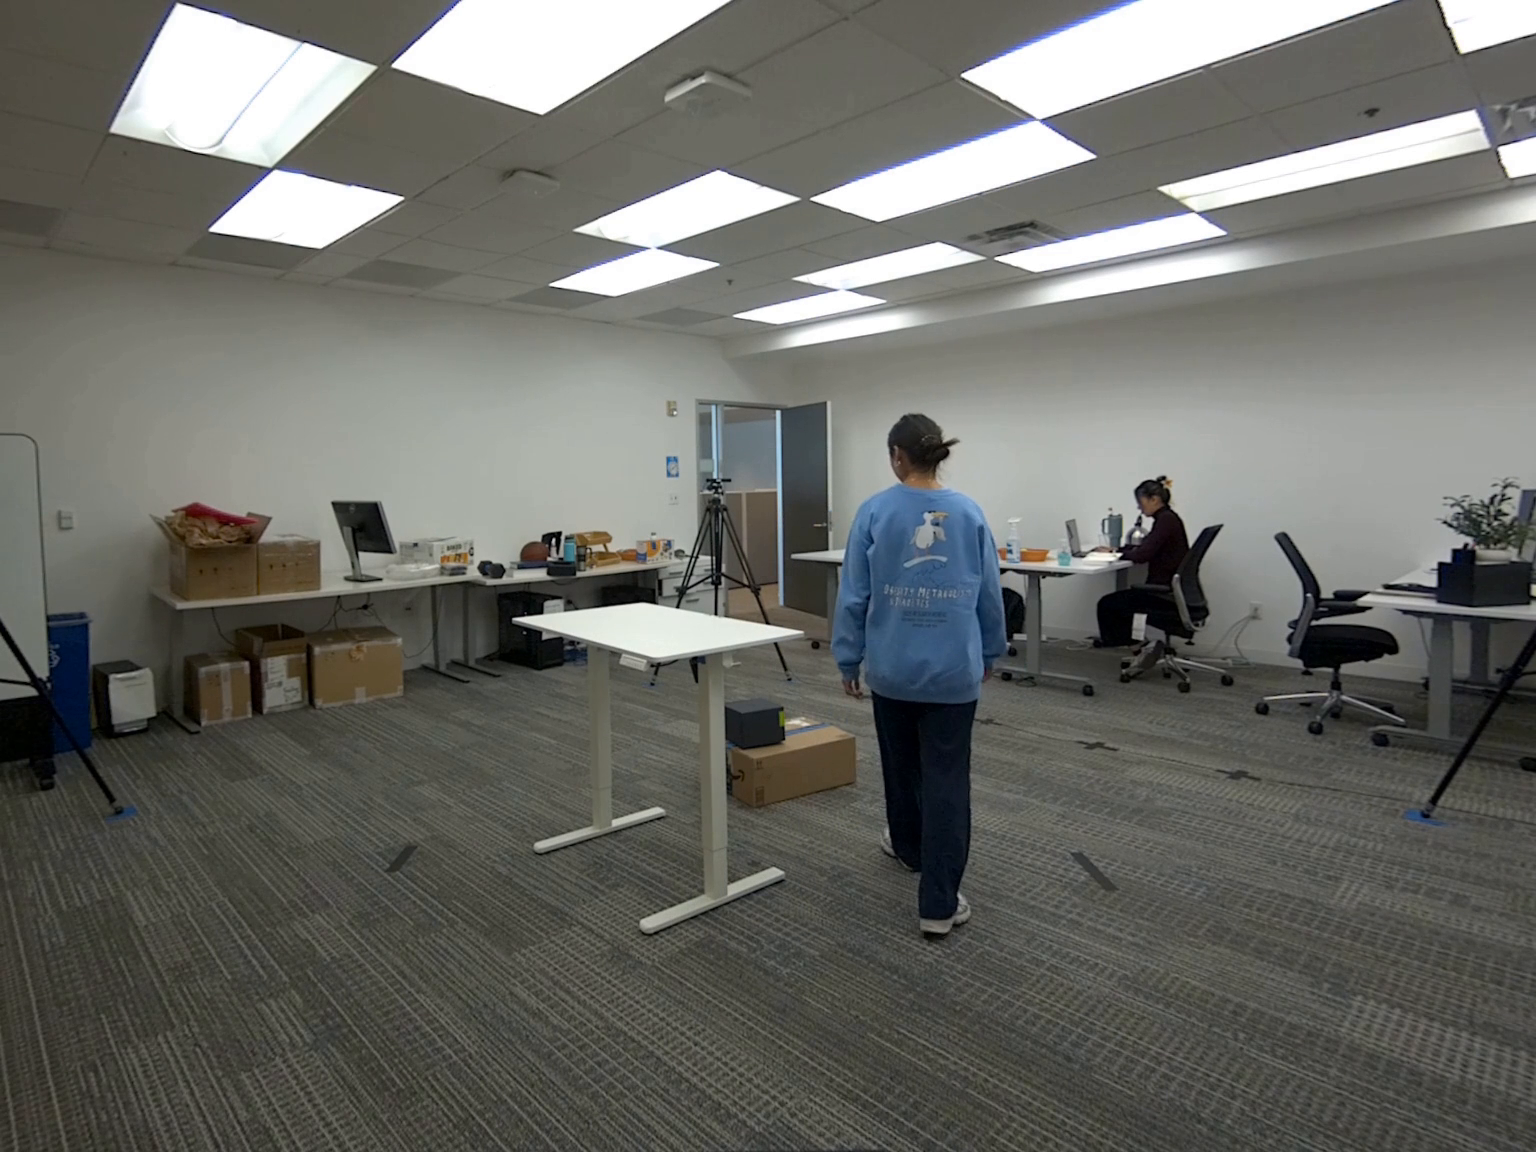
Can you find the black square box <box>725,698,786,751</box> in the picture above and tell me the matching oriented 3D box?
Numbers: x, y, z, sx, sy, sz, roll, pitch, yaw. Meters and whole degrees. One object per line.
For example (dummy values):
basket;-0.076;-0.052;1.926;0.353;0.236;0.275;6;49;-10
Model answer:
black square box;-0.066;0.655;3.854;0.212;0.155;0.233;-4;3;-25
